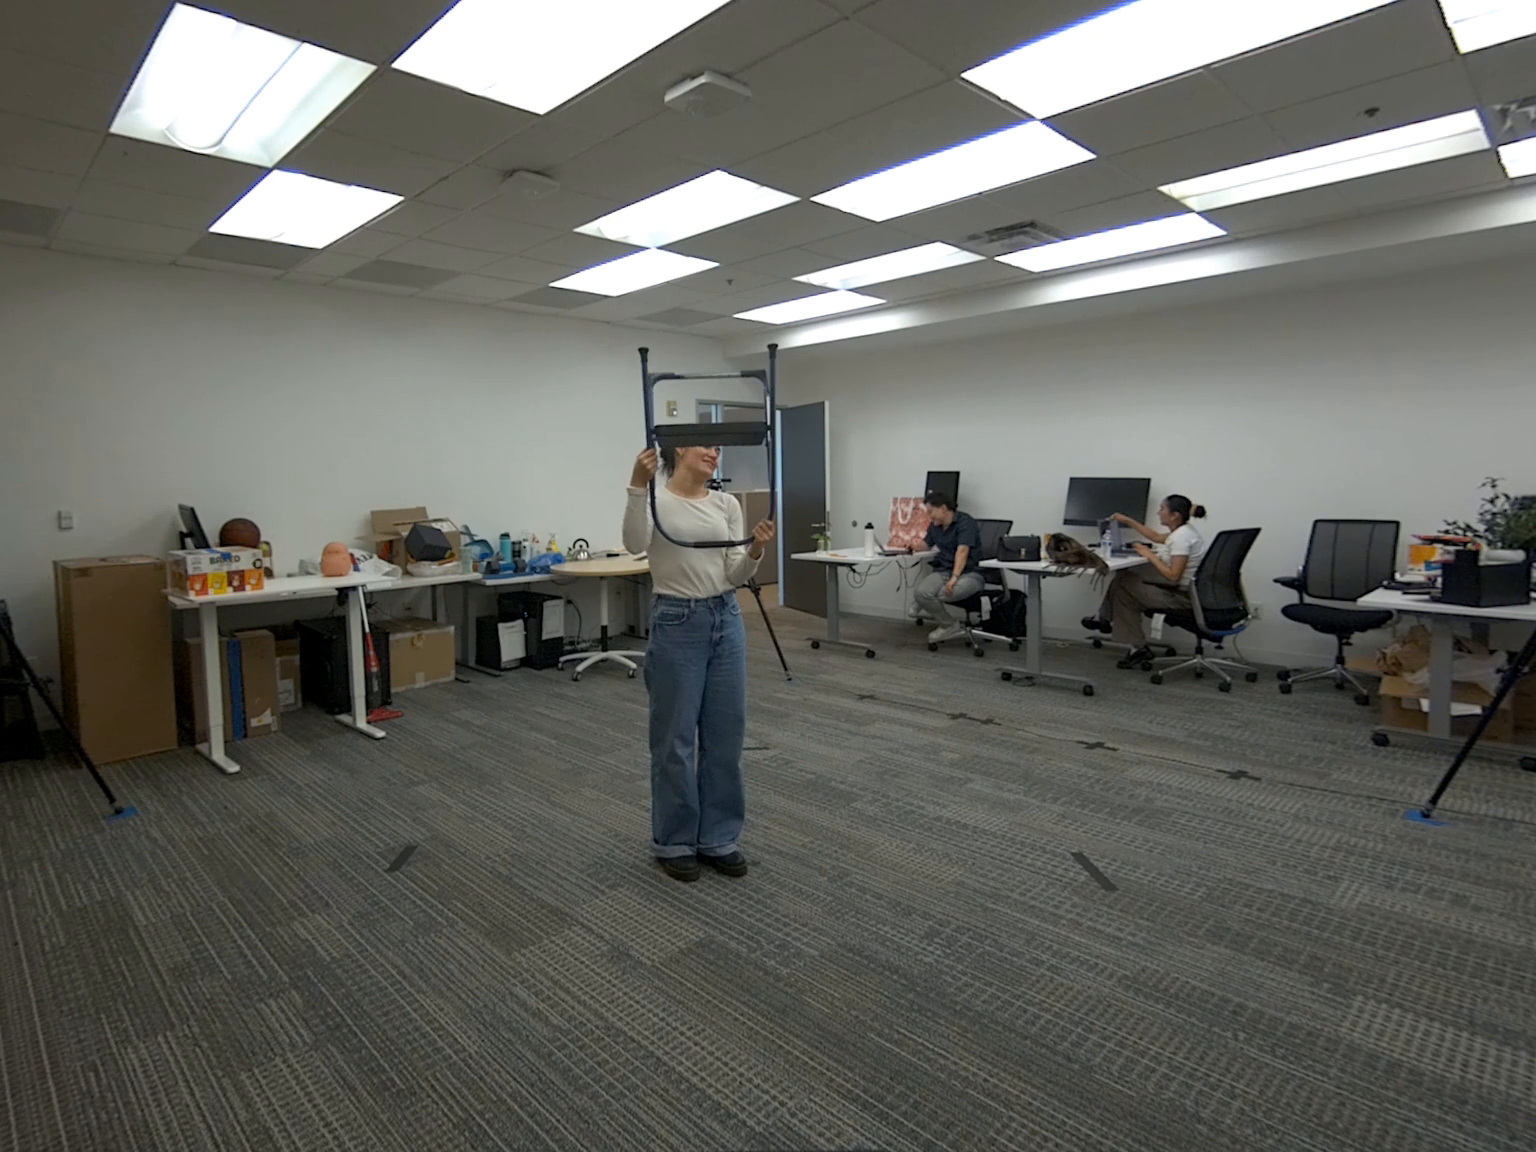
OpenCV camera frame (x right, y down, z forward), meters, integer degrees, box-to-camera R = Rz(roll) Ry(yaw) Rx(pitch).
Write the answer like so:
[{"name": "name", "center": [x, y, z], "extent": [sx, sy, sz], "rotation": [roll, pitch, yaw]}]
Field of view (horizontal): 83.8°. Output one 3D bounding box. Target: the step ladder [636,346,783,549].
[{"name": "step ladder", "center": [-0.188, -0.396, 2.756], "extent": [0.430, 0.606, 0.350], "rotation": [-1, 0, -2]}]
